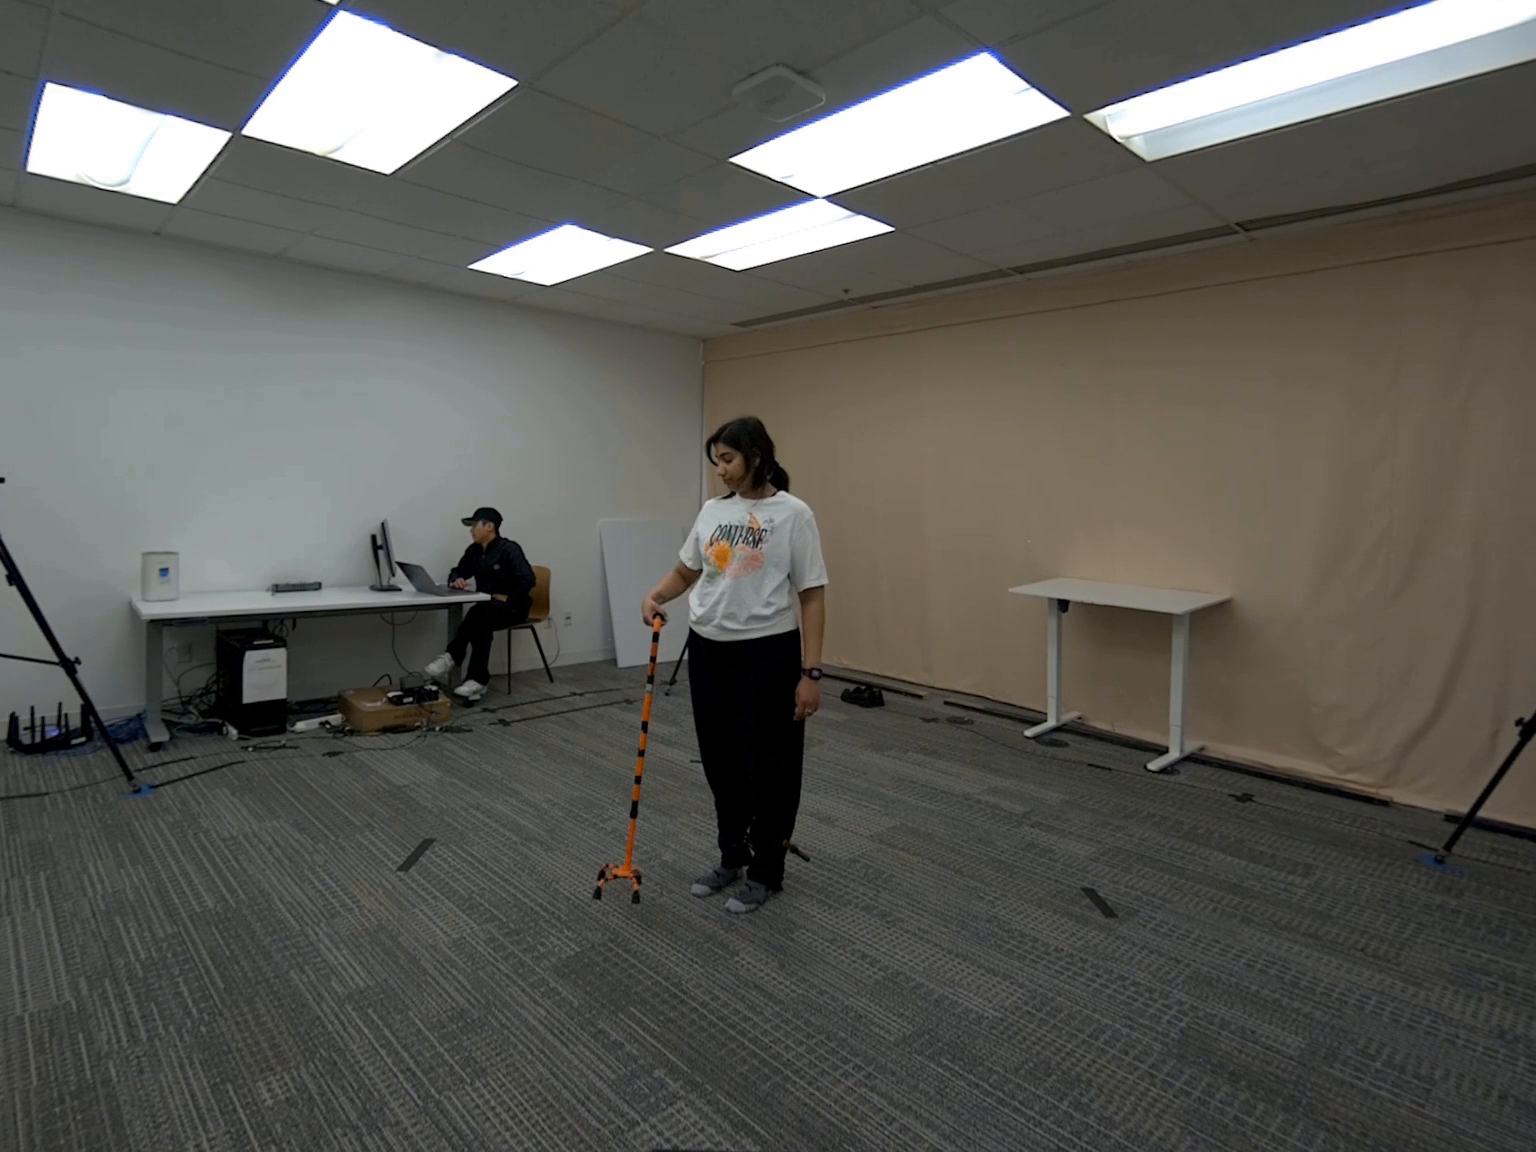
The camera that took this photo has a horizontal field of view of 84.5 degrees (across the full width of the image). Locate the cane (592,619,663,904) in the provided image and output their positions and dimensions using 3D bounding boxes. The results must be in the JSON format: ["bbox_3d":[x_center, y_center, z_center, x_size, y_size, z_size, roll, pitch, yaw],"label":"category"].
[{"bbox_3d":[-0.434,0.590,2.774,0.151,0.910,0.207,8,-4,-5],"label":"cane"}]
